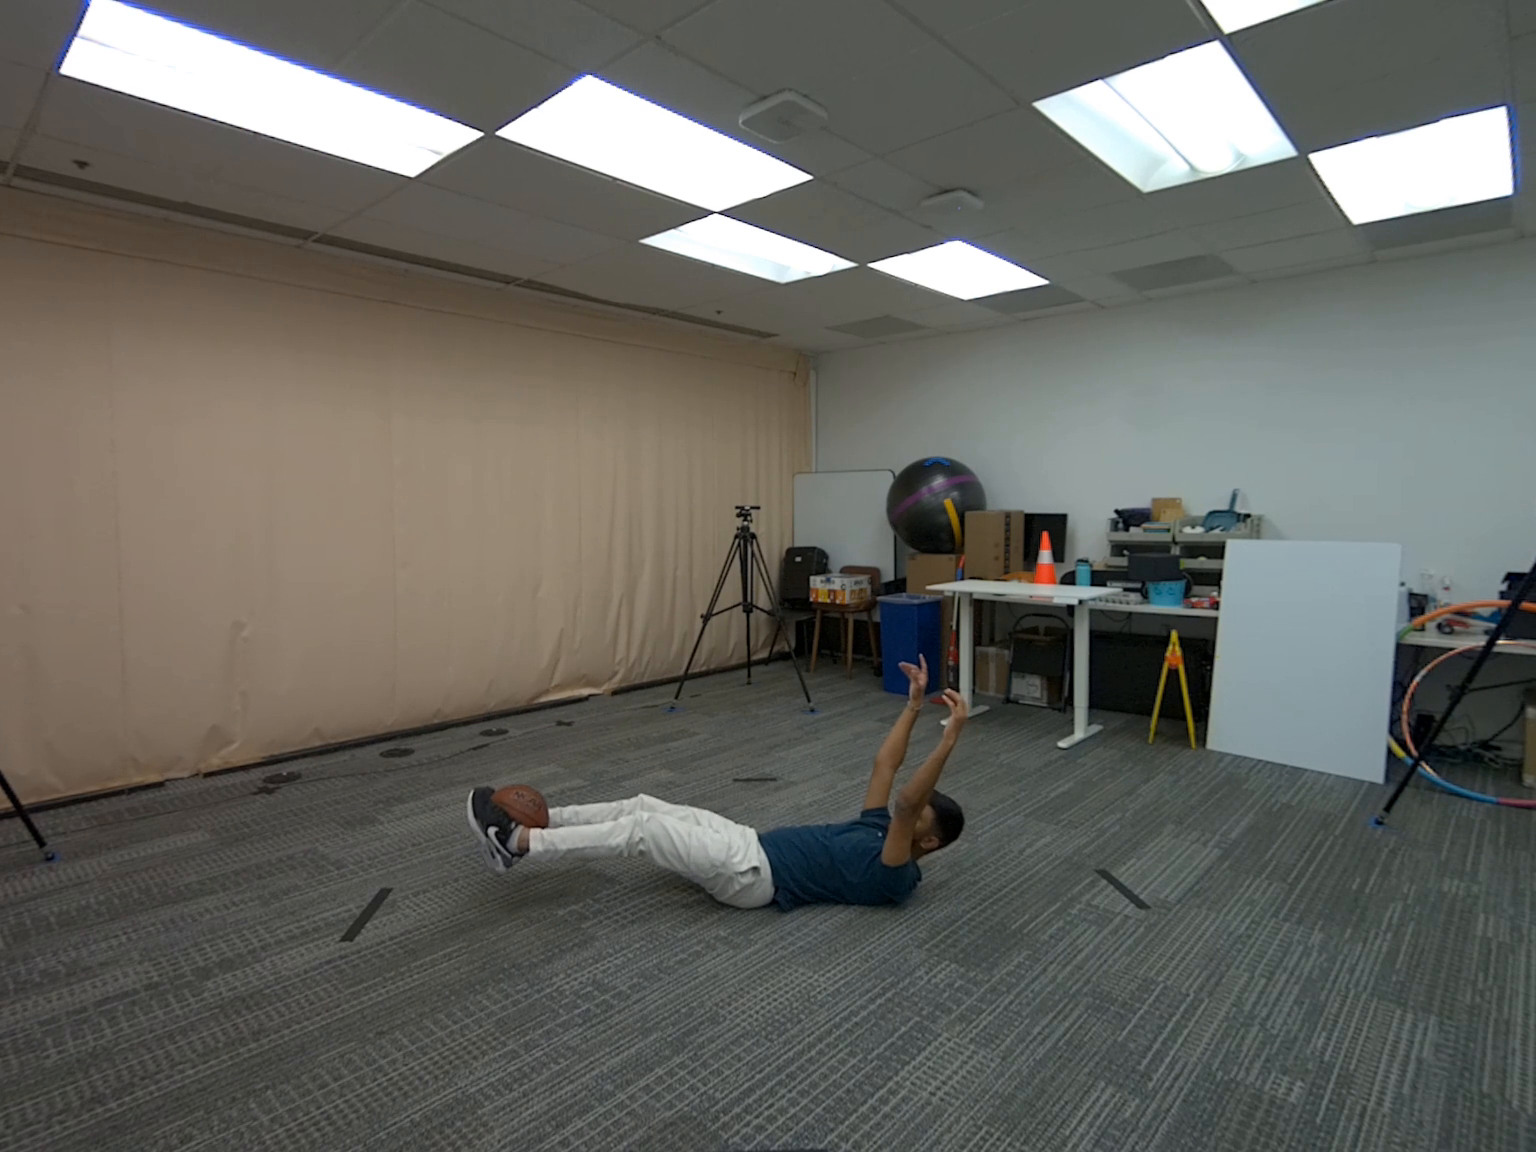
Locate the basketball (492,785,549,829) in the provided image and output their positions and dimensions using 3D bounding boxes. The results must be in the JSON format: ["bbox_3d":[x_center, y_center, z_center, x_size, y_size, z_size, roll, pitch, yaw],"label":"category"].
[{"bbox_3d":[-0.903,0.861,3.014,0.236,0.235,0.237,0,4,-2],"label":"basketball"}]
